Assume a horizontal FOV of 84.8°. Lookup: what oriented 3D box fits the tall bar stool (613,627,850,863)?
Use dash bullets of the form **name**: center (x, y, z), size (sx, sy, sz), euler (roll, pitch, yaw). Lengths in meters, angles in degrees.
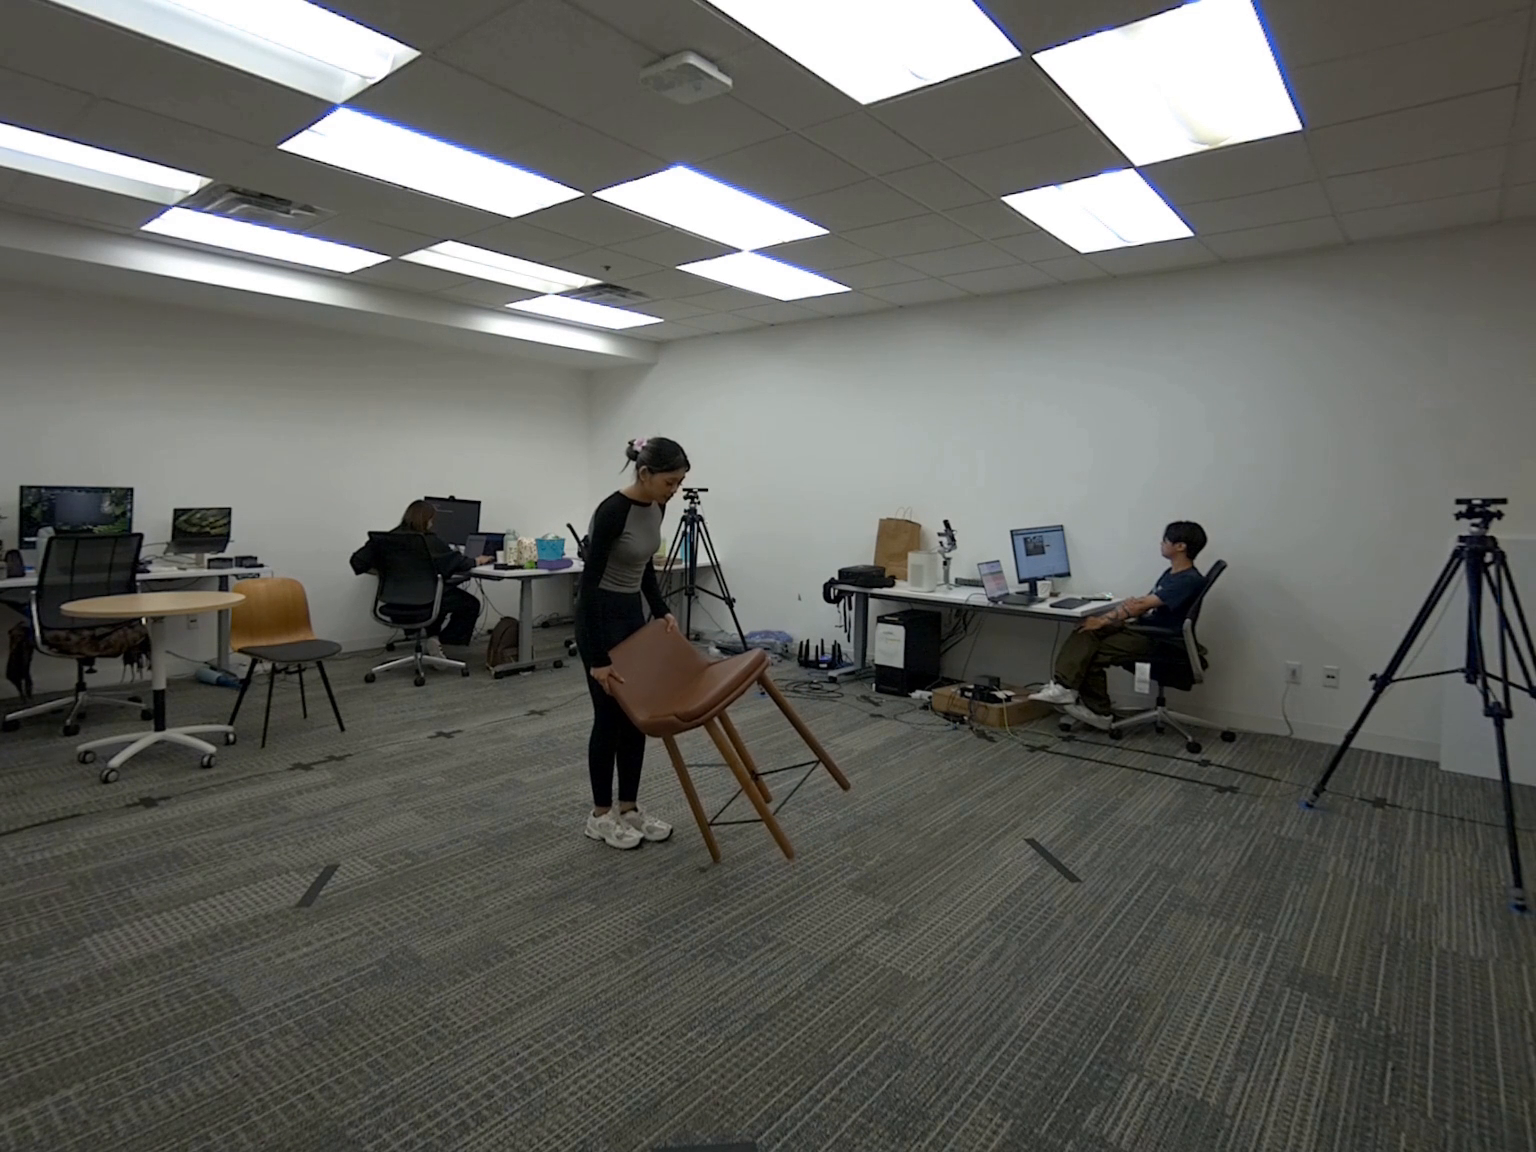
- **tall bar stool**: center (-0.184, 0.550, 3.132), size (0.474, 0.888, 0.451), euler (-29, 3, 46)
